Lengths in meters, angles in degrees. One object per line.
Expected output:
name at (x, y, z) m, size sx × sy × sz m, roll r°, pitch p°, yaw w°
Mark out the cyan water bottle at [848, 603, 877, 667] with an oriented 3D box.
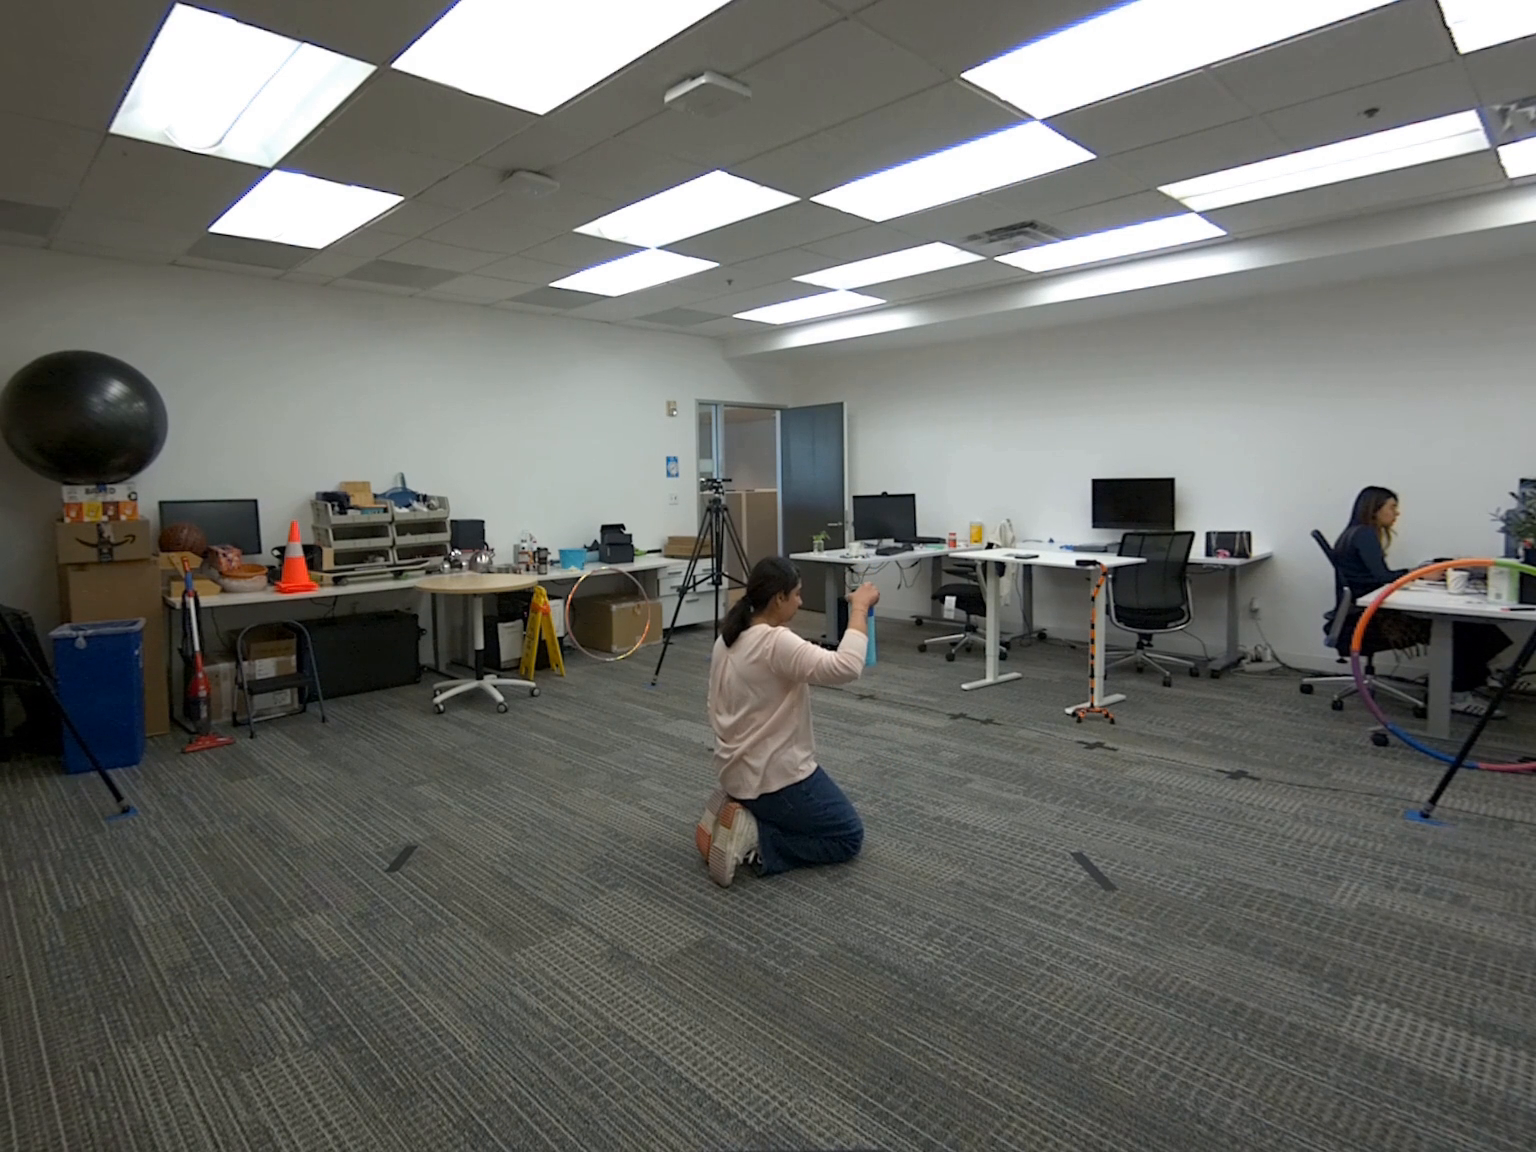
cyan water bottle at (0.337, 0.172, 3.003) m, size 0.092 × 0.283 × 0.092 m, roll -1°, pitch 2°, yaw -2°
